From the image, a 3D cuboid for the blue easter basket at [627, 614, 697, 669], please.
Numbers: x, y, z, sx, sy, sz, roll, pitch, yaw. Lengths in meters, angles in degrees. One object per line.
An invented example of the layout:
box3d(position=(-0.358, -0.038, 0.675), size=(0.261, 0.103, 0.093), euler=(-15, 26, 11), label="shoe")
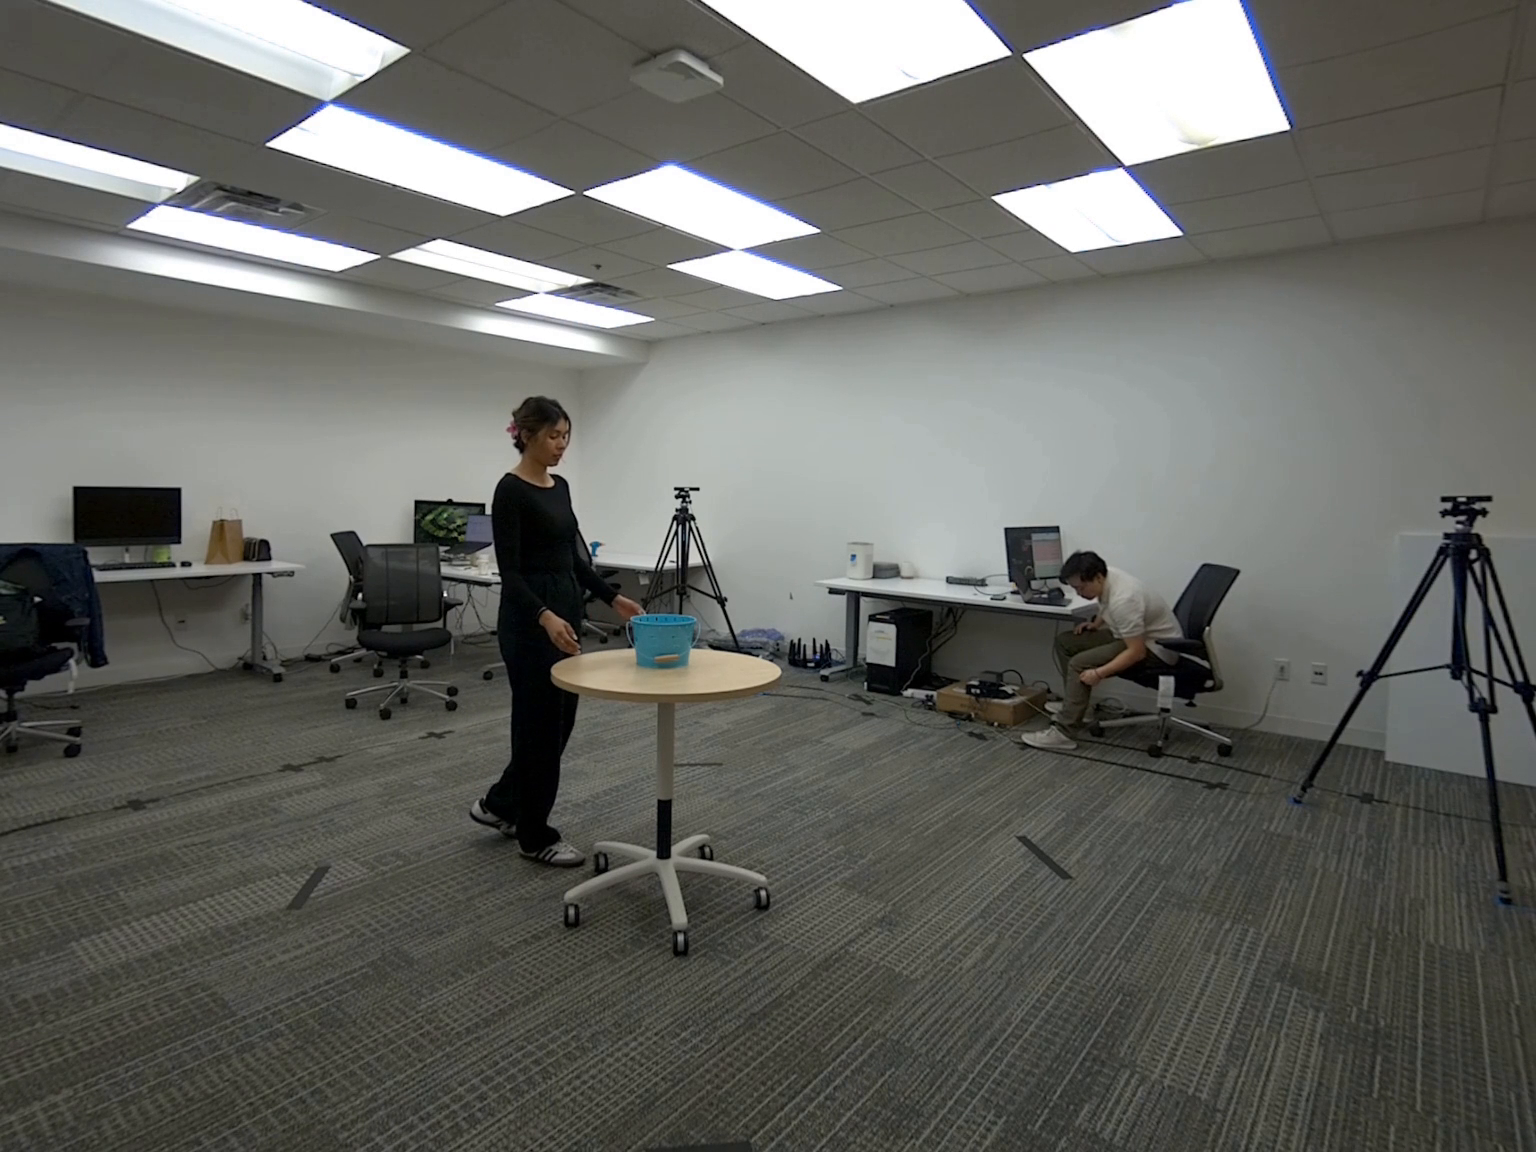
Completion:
box3d(position=(-0.379, 0.227, 2.924), size=(0.243, 0.155, 0.244), euler=(0, 4, -2), label="blue easter basket")
